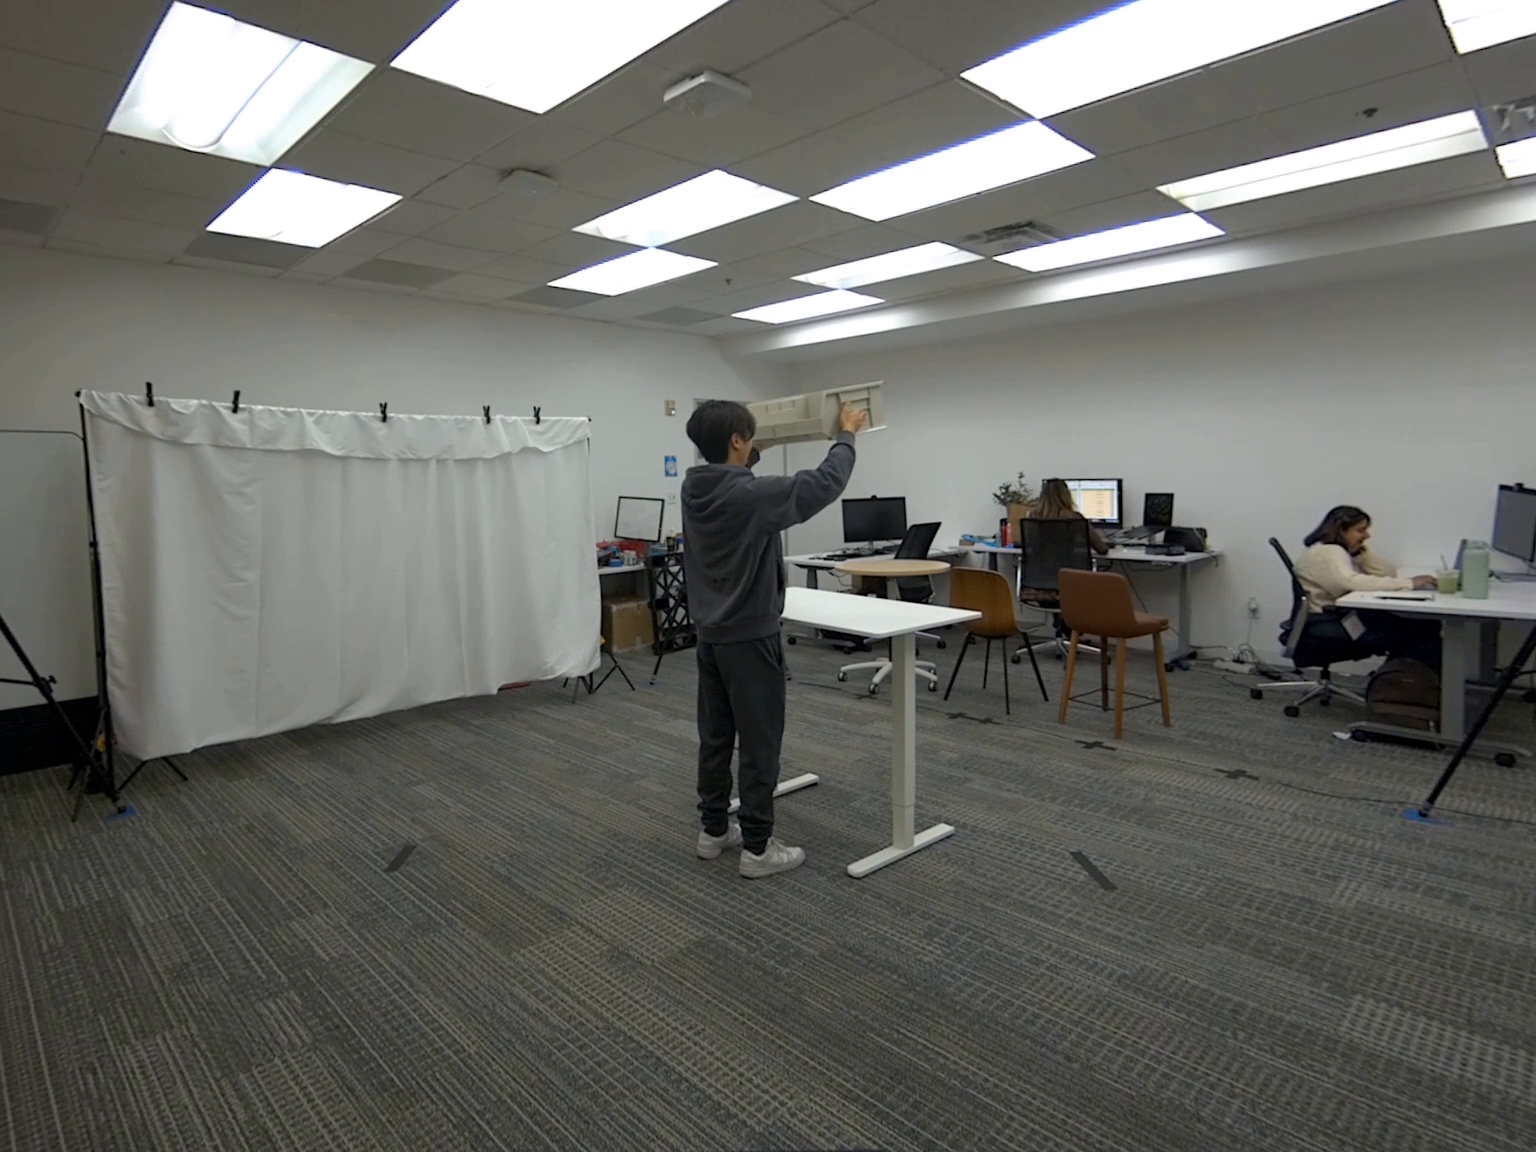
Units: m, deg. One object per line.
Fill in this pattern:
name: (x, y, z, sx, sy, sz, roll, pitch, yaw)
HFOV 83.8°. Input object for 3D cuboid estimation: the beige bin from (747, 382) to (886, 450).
beige bin: (0.183, -0.618, 3.317, 0.370, 0.187, 0.435, -19, 14, -39)
